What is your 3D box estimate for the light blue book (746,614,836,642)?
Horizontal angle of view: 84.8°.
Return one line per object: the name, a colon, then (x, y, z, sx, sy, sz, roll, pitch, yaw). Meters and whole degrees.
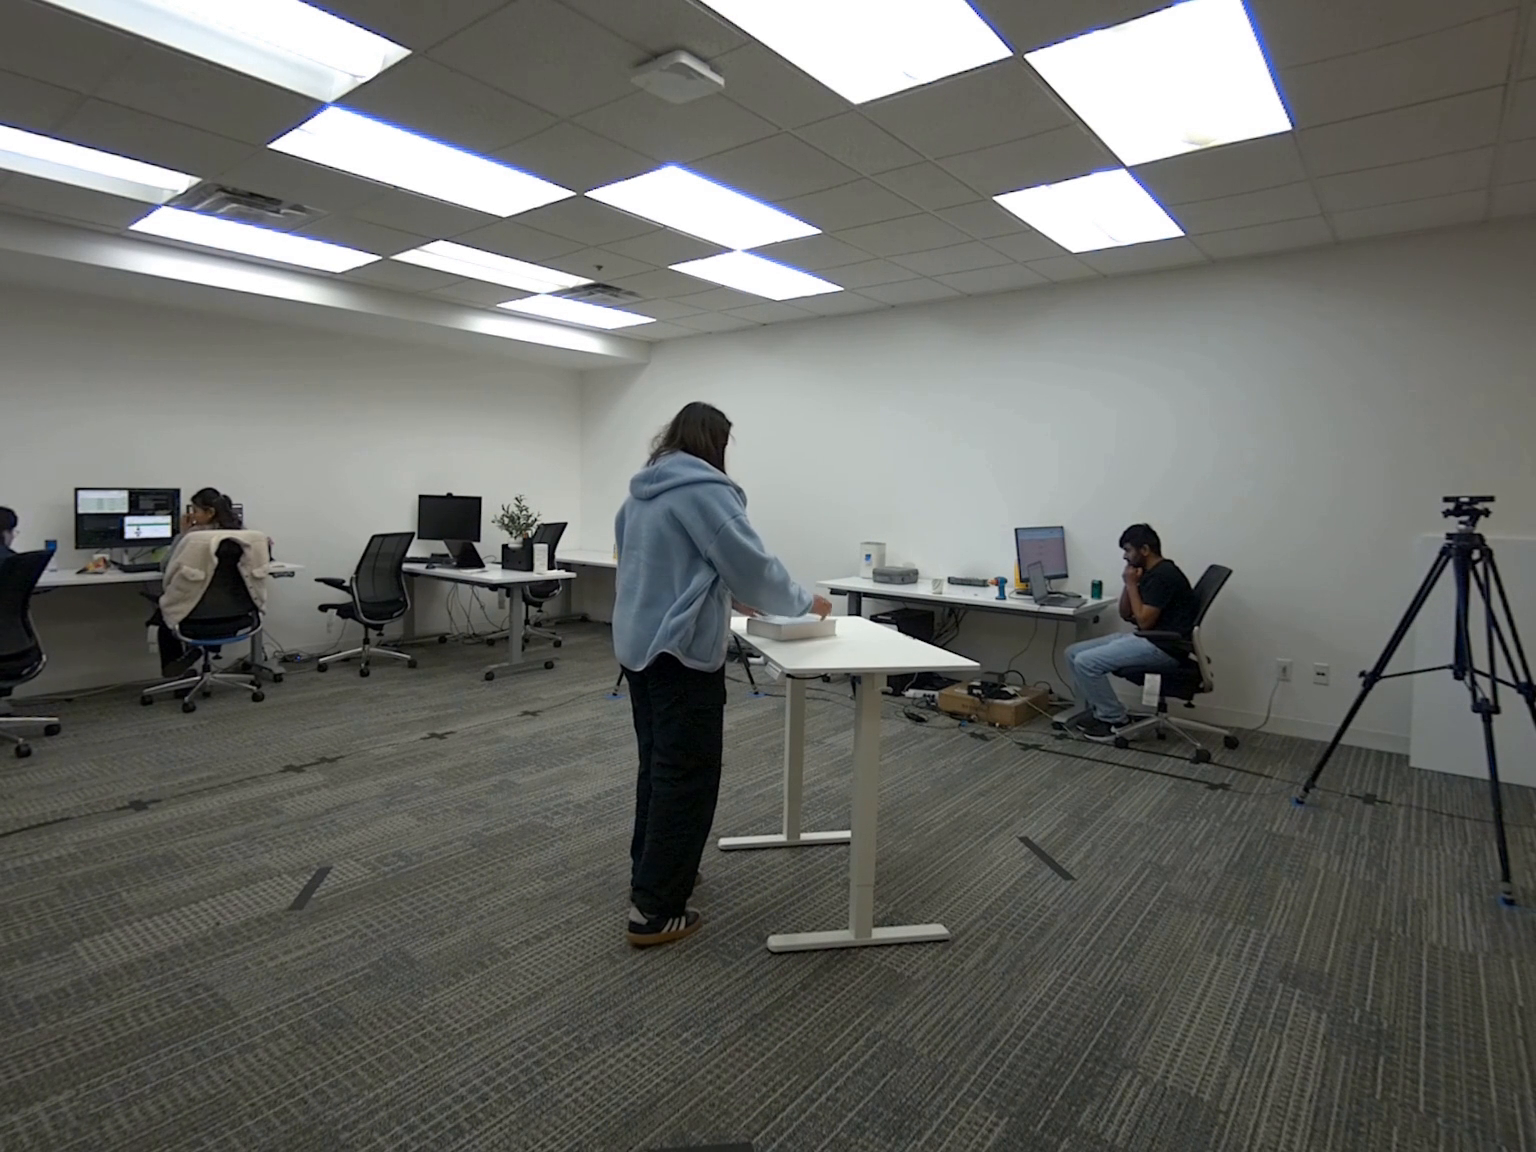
light blue book: (0.073, 0.178, 2.994, 0.253, 0.059, 0.197, -2, 5, -37)
